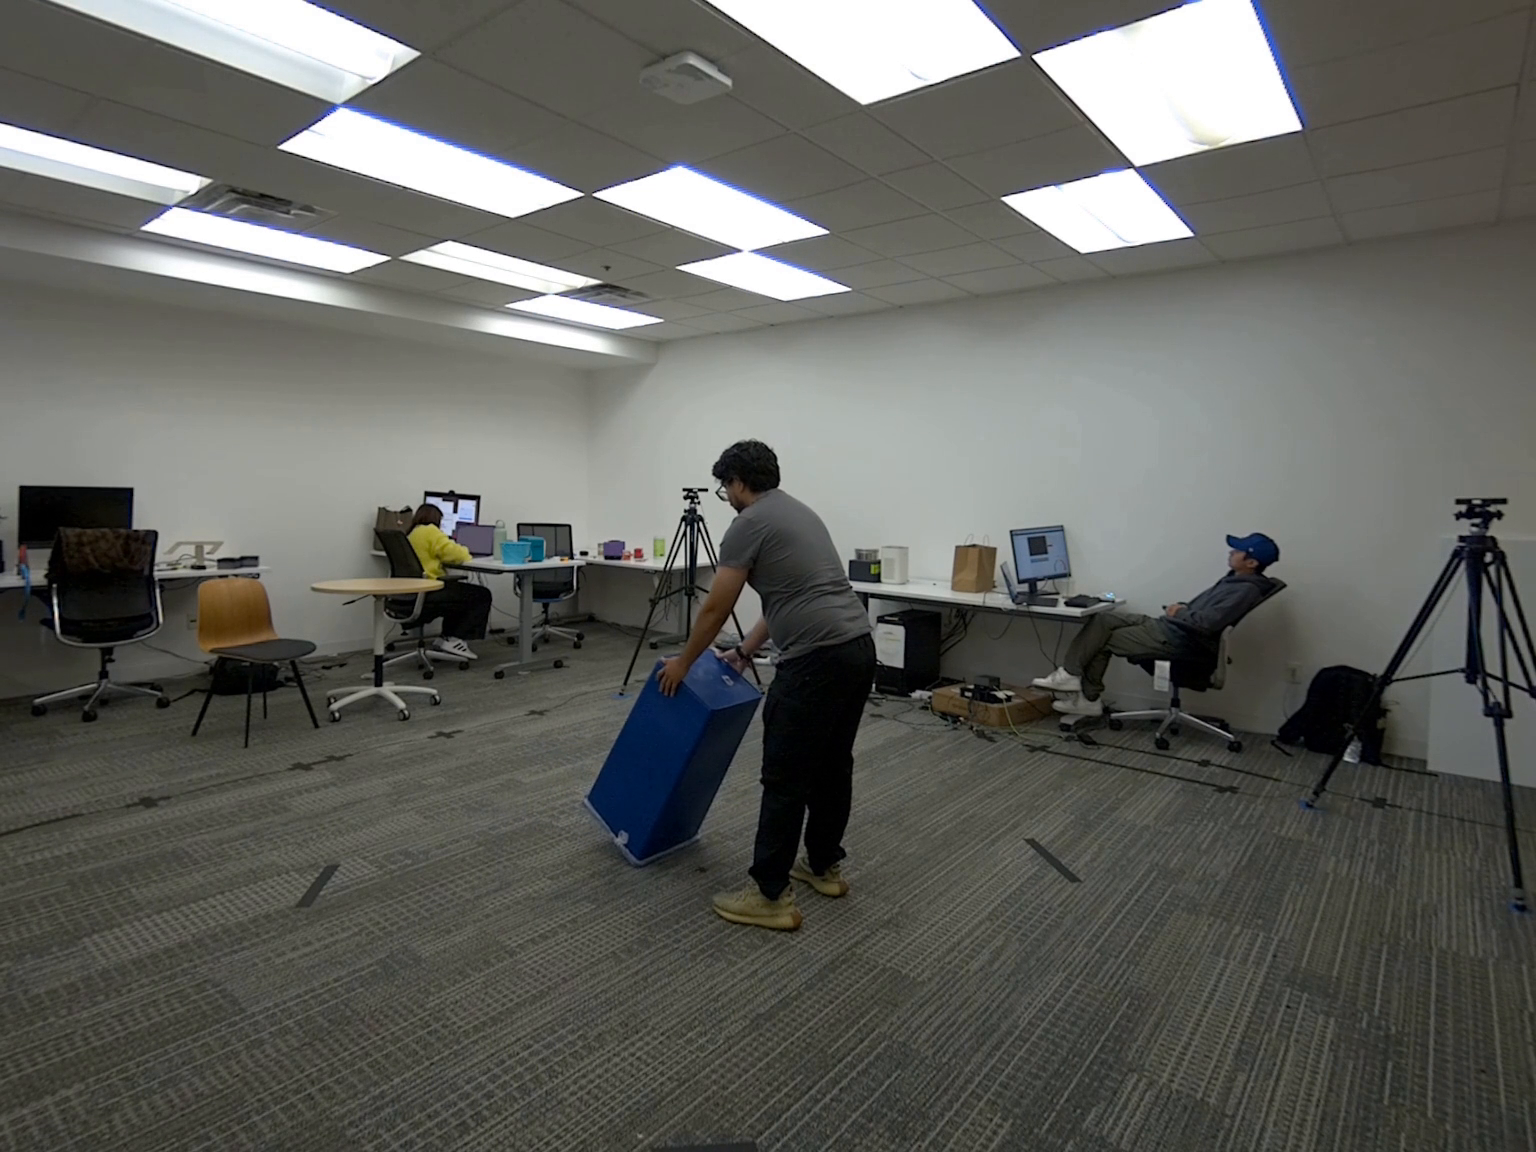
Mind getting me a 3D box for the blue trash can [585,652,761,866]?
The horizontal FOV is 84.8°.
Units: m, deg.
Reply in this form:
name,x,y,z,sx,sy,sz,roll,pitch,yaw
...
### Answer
name,x,y,z,sx,sy,sz,roll,pitch,yaw
blue trash can,-0.358,0.667,3.215,0.392,0.708,0.363,39,23,30
